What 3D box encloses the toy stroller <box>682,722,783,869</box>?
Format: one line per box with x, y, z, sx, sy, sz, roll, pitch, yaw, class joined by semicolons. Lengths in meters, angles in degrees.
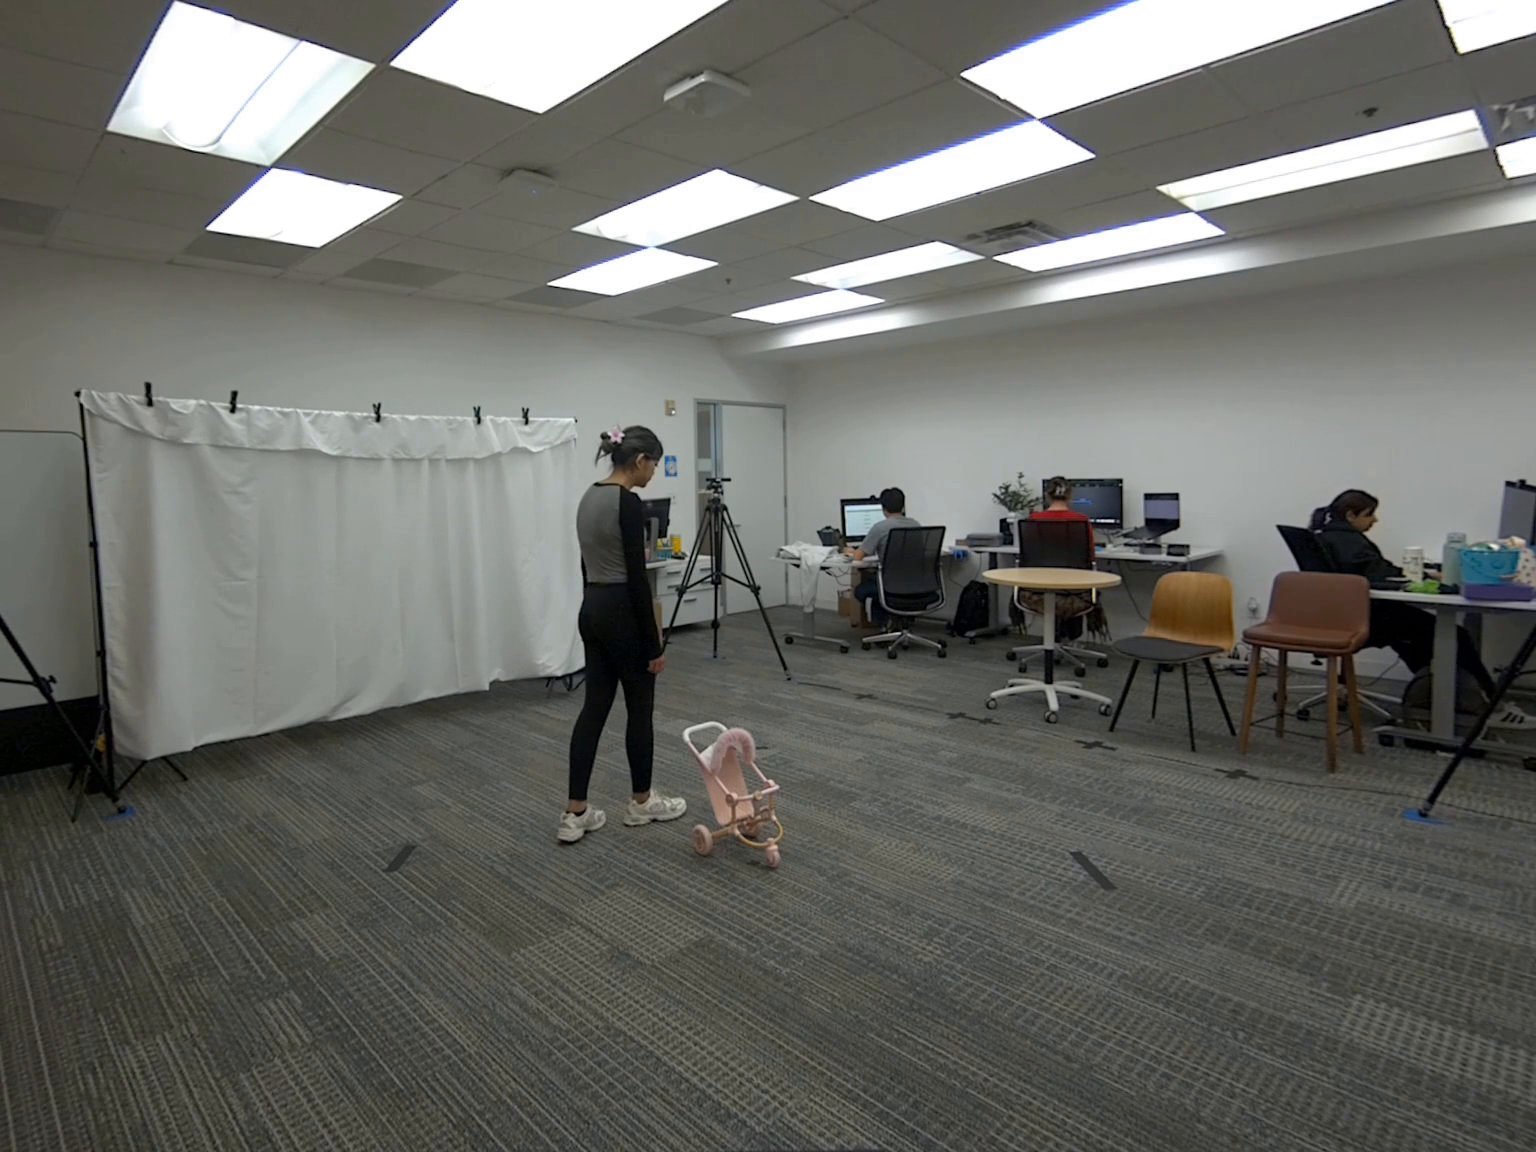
-0.113;0.809;3.200;0.274;0.540;0.347;-4;-11;-37;toy stroller
